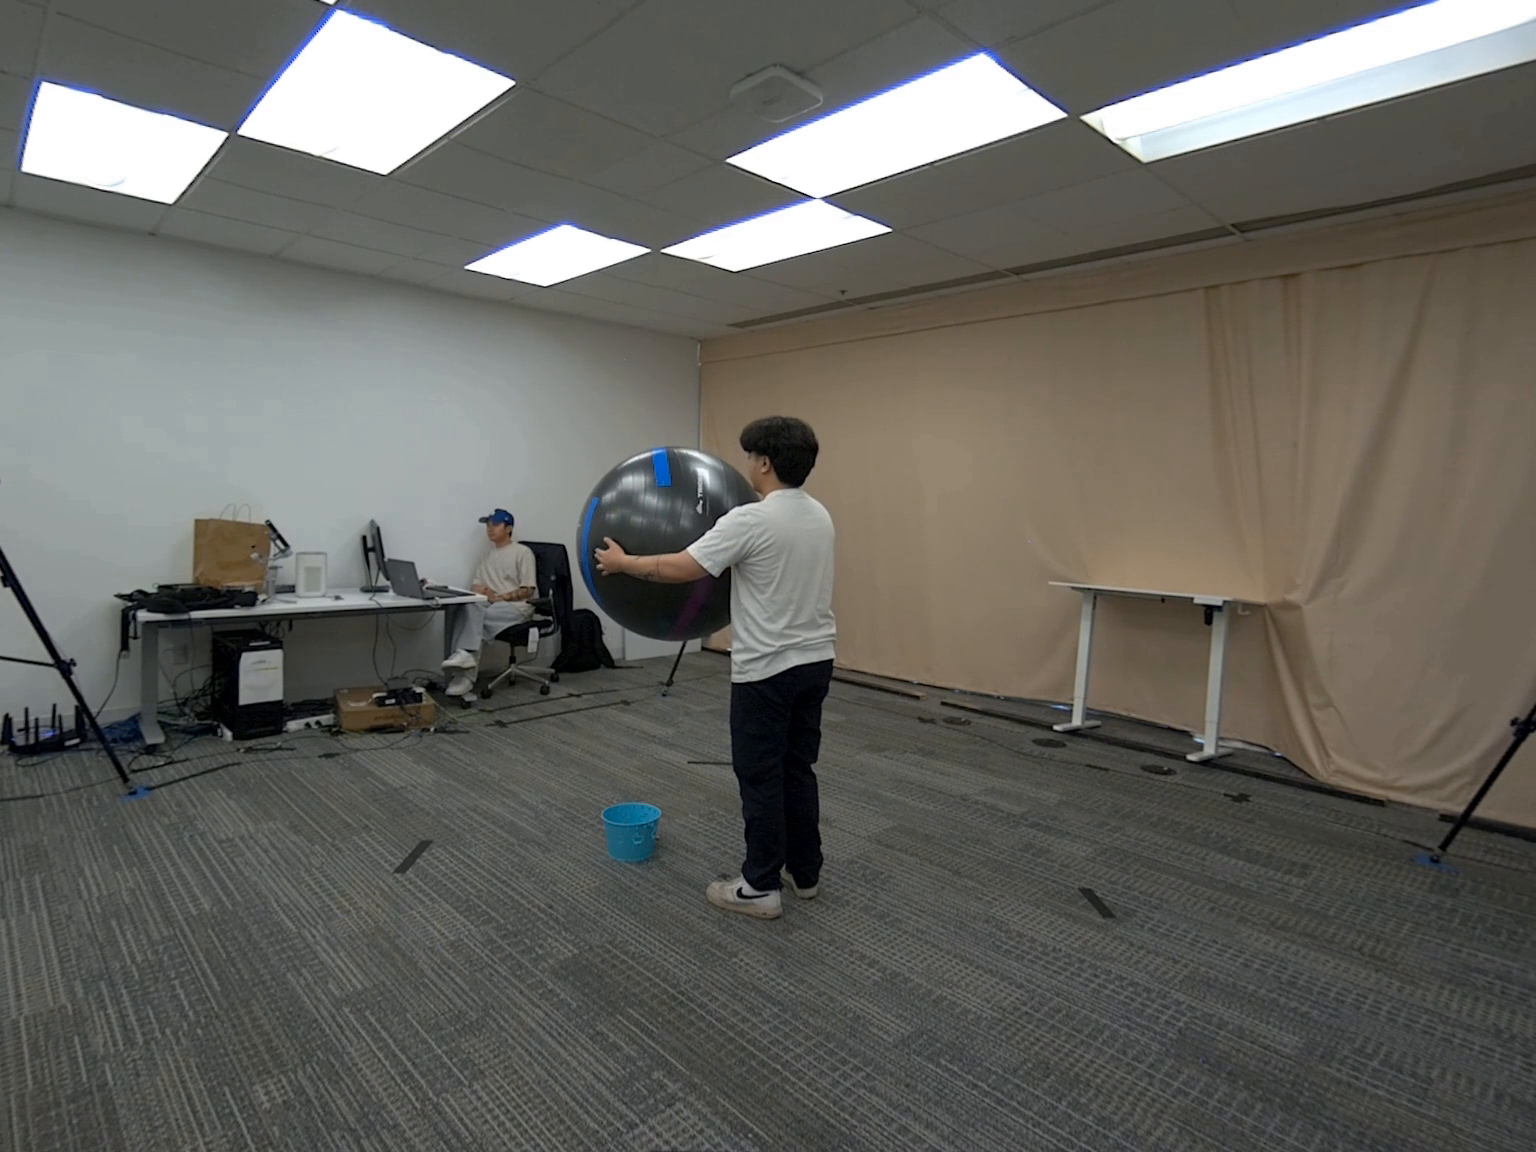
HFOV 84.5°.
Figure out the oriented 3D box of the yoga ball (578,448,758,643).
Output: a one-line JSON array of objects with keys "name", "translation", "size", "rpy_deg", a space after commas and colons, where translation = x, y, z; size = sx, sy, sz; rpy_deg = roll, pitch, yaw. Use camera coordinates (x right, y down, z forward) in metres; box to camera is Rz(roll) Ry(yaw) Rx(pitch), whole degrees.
[{"name": "yoga ball", "translation": [-0.374, -0.118, 3.293], "size": [0.757, 0.756, 0.760], "rpy_deg": [1, 4, -1]}]
